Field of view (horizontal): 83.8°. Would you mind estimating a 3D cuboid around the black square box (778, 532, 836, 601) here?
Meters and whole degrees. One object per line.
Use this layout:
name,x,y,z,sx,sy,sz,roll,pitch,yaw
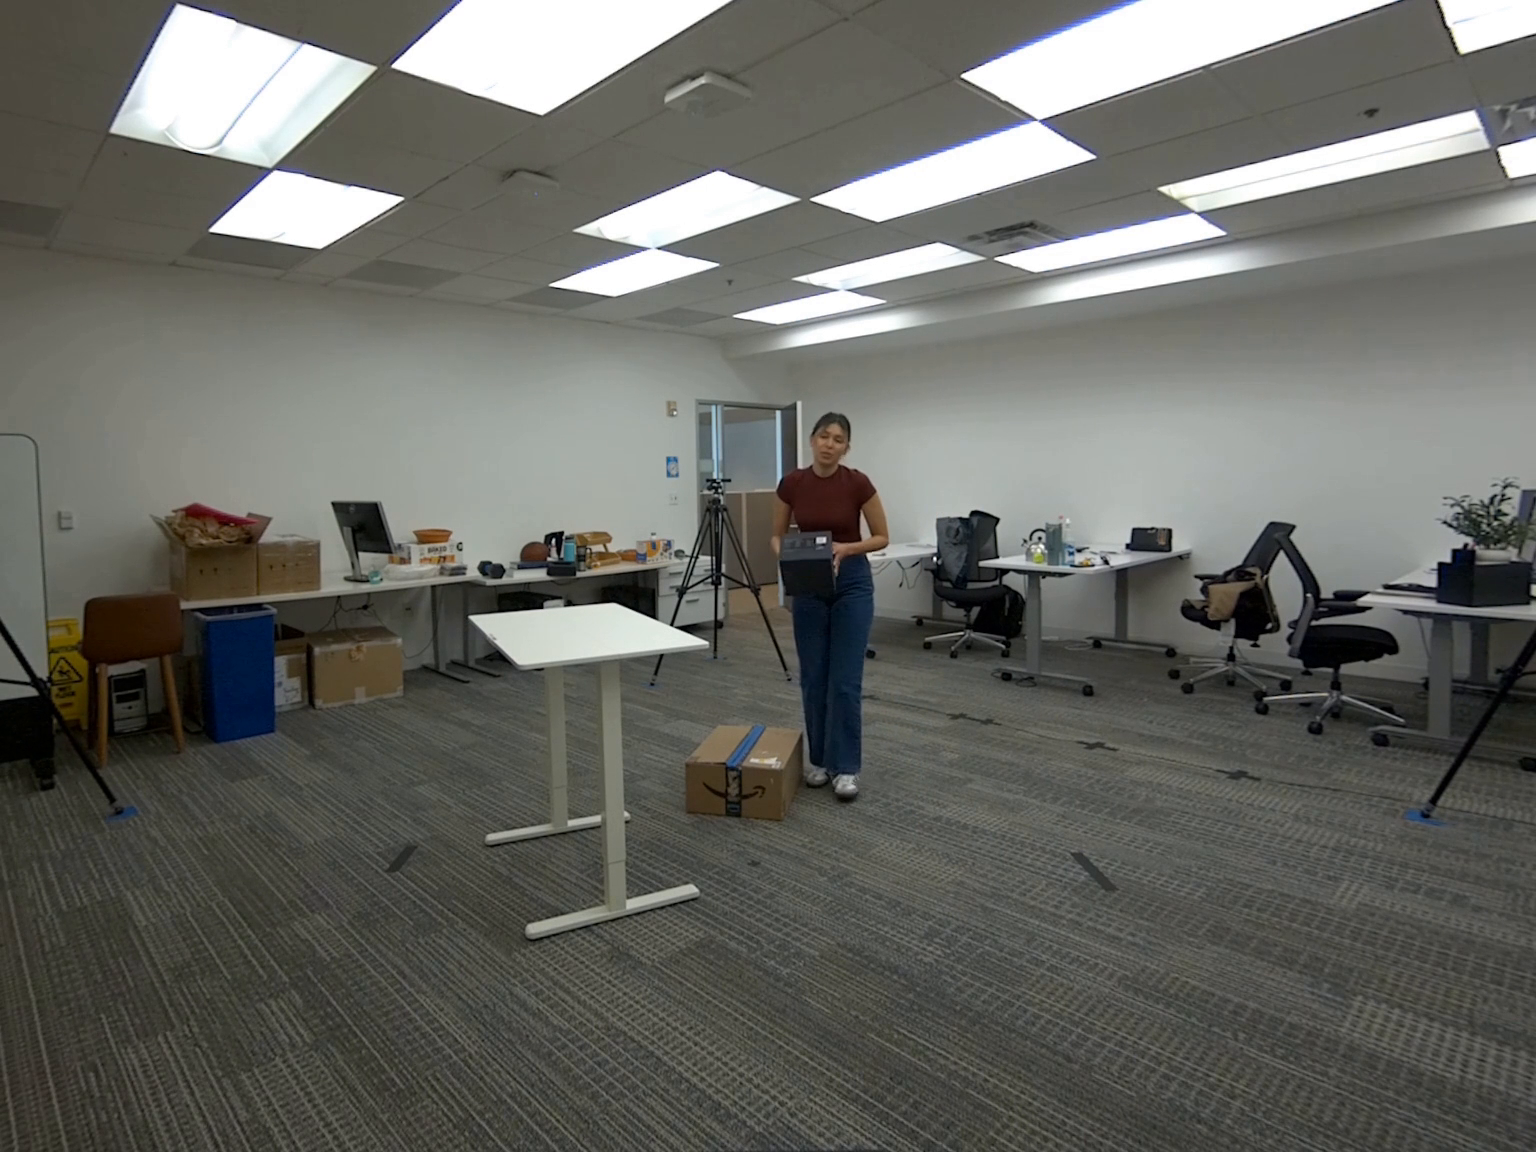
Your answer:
black square box,0.170,-0.043,3.627,0.220,0.220,0.159,-4,45,13
